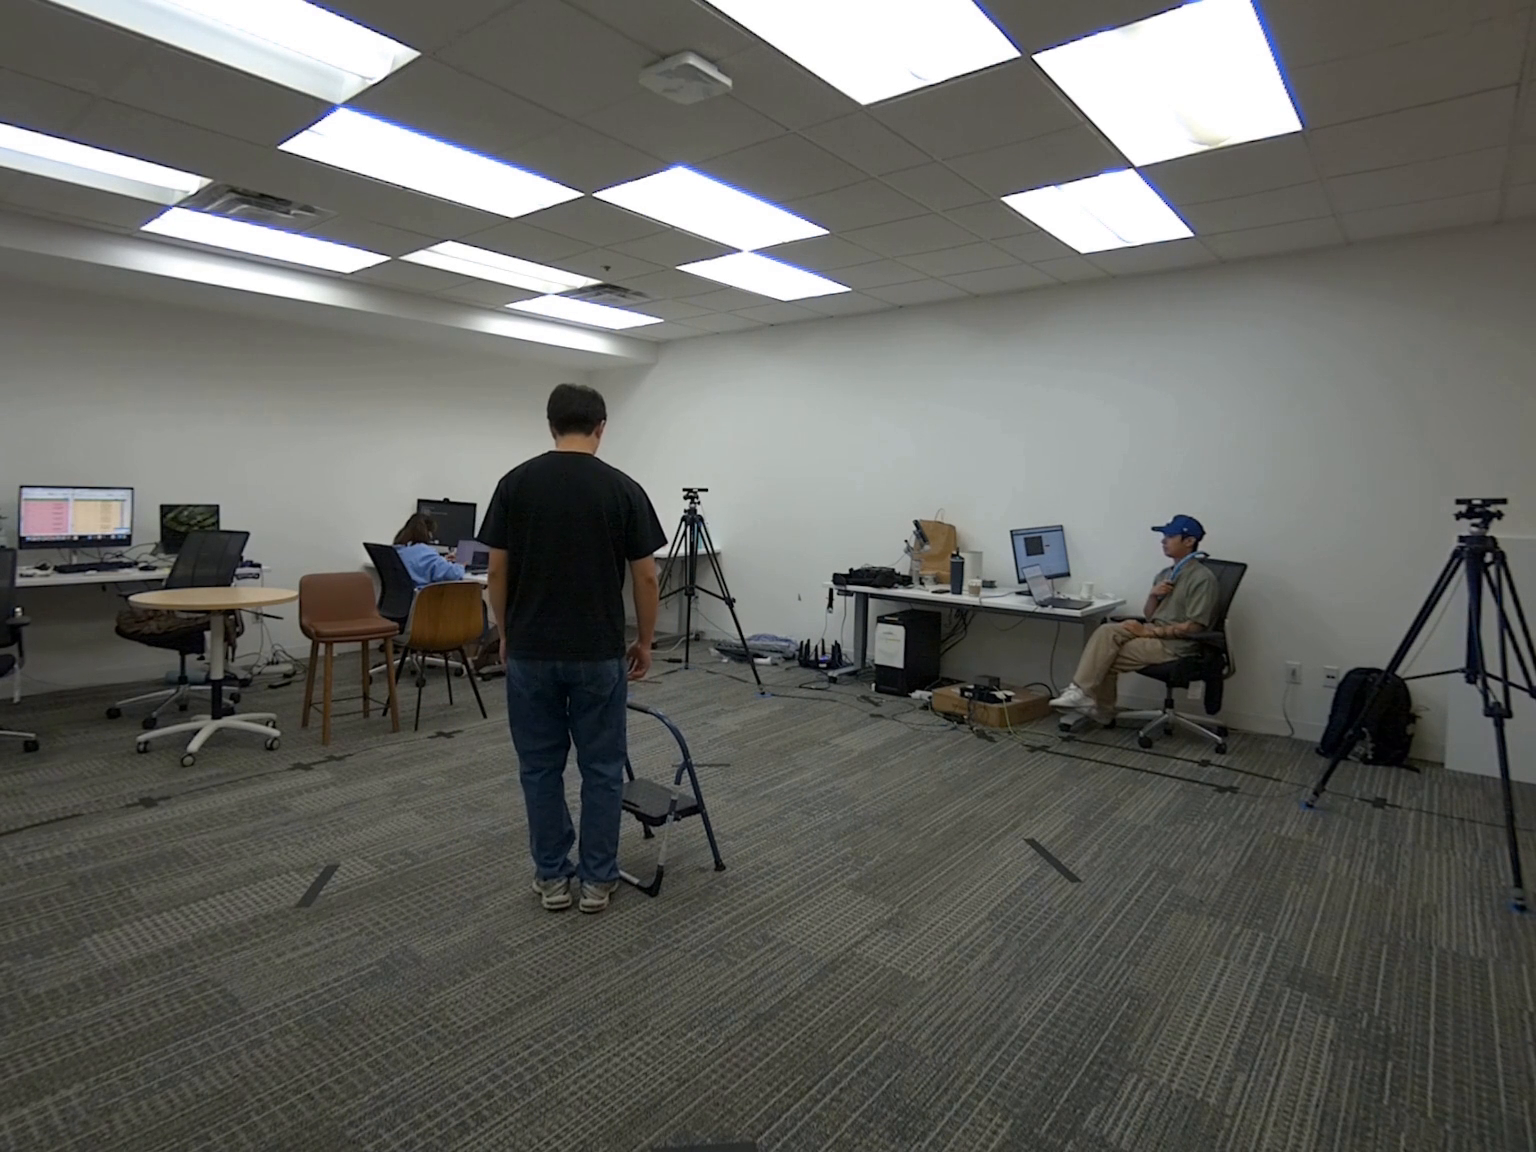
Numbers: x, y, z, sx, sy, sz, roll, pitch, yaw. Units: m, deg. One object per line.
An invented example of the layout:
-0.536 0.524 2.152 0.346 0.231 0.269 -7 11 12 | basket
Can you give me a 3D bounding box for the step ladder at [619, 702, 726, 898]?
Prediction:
-0.433 0.758 3.130 0.445 0.605 0.338 3 3 43 | step ladder
